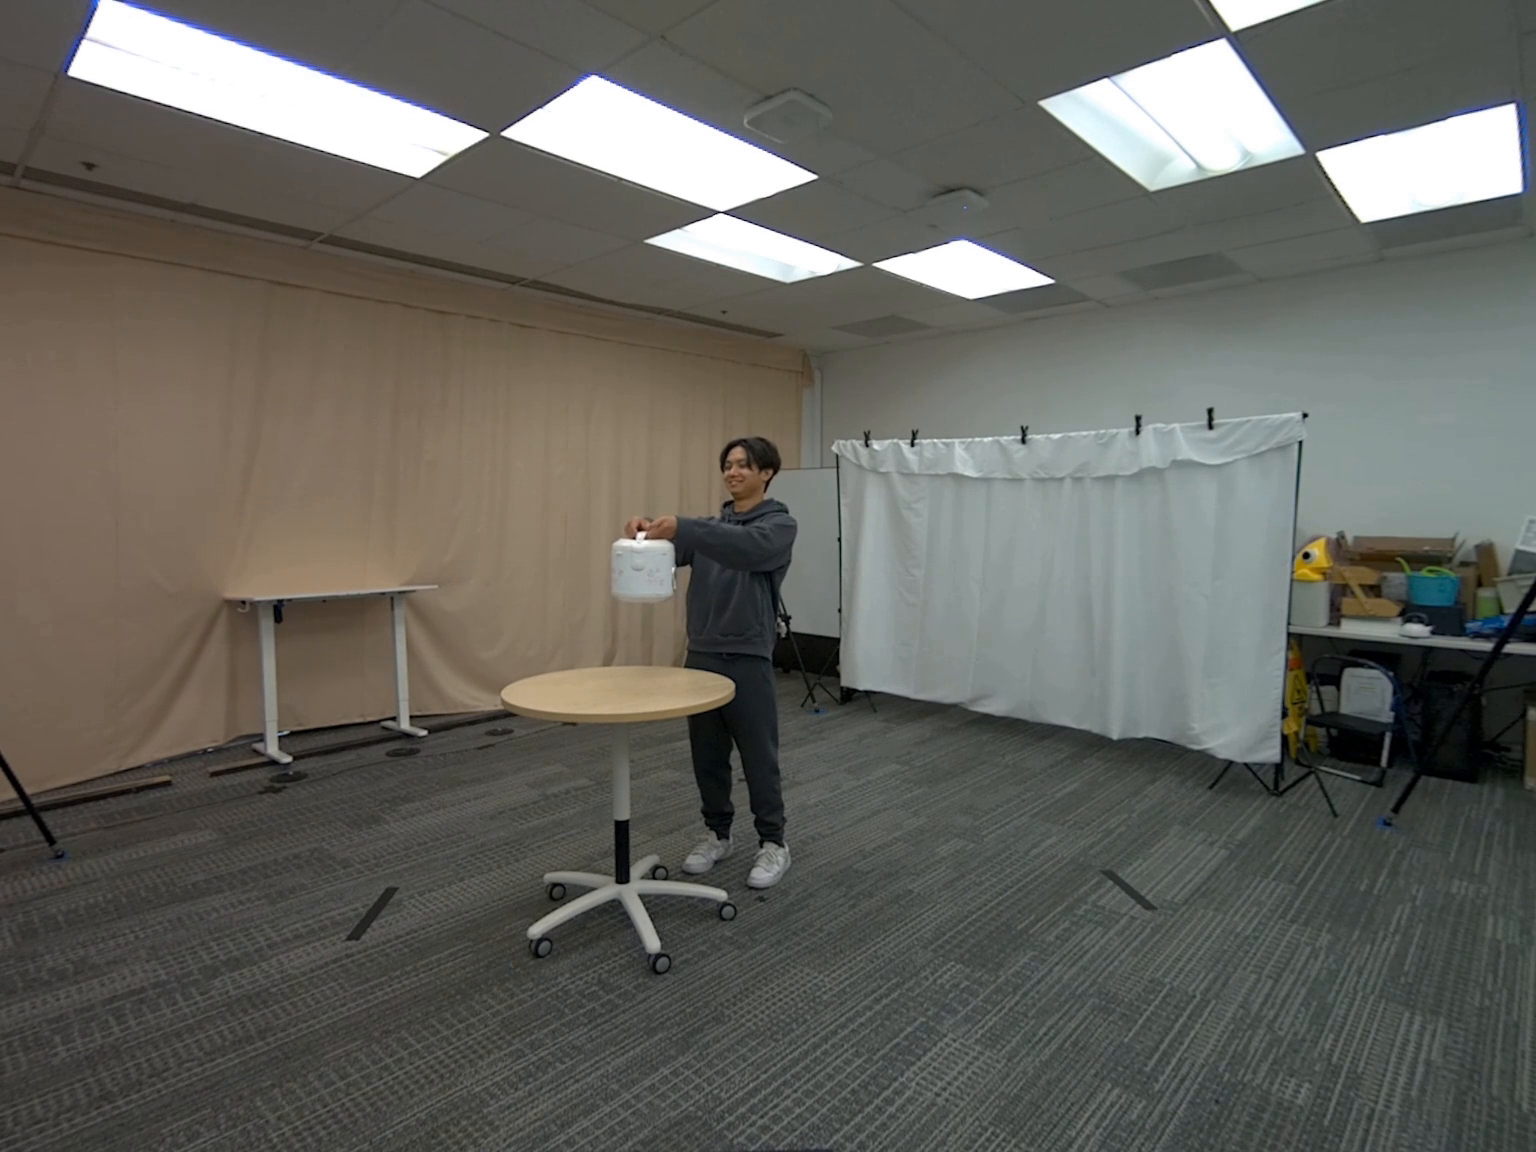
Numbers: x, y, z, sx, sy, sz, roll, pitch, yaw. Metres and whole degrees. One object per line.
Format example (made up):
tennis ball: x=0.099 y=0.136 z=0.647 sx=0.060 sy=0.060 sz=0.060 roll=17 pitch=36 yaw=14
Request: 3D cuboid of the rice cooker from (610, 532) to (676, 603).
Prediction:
rice cooker: x=-0.417 y=-0.030 z=2.815 sx=0.218 sy=0.232 sz=0.220 roll=1 pitch=5 yaw=4
